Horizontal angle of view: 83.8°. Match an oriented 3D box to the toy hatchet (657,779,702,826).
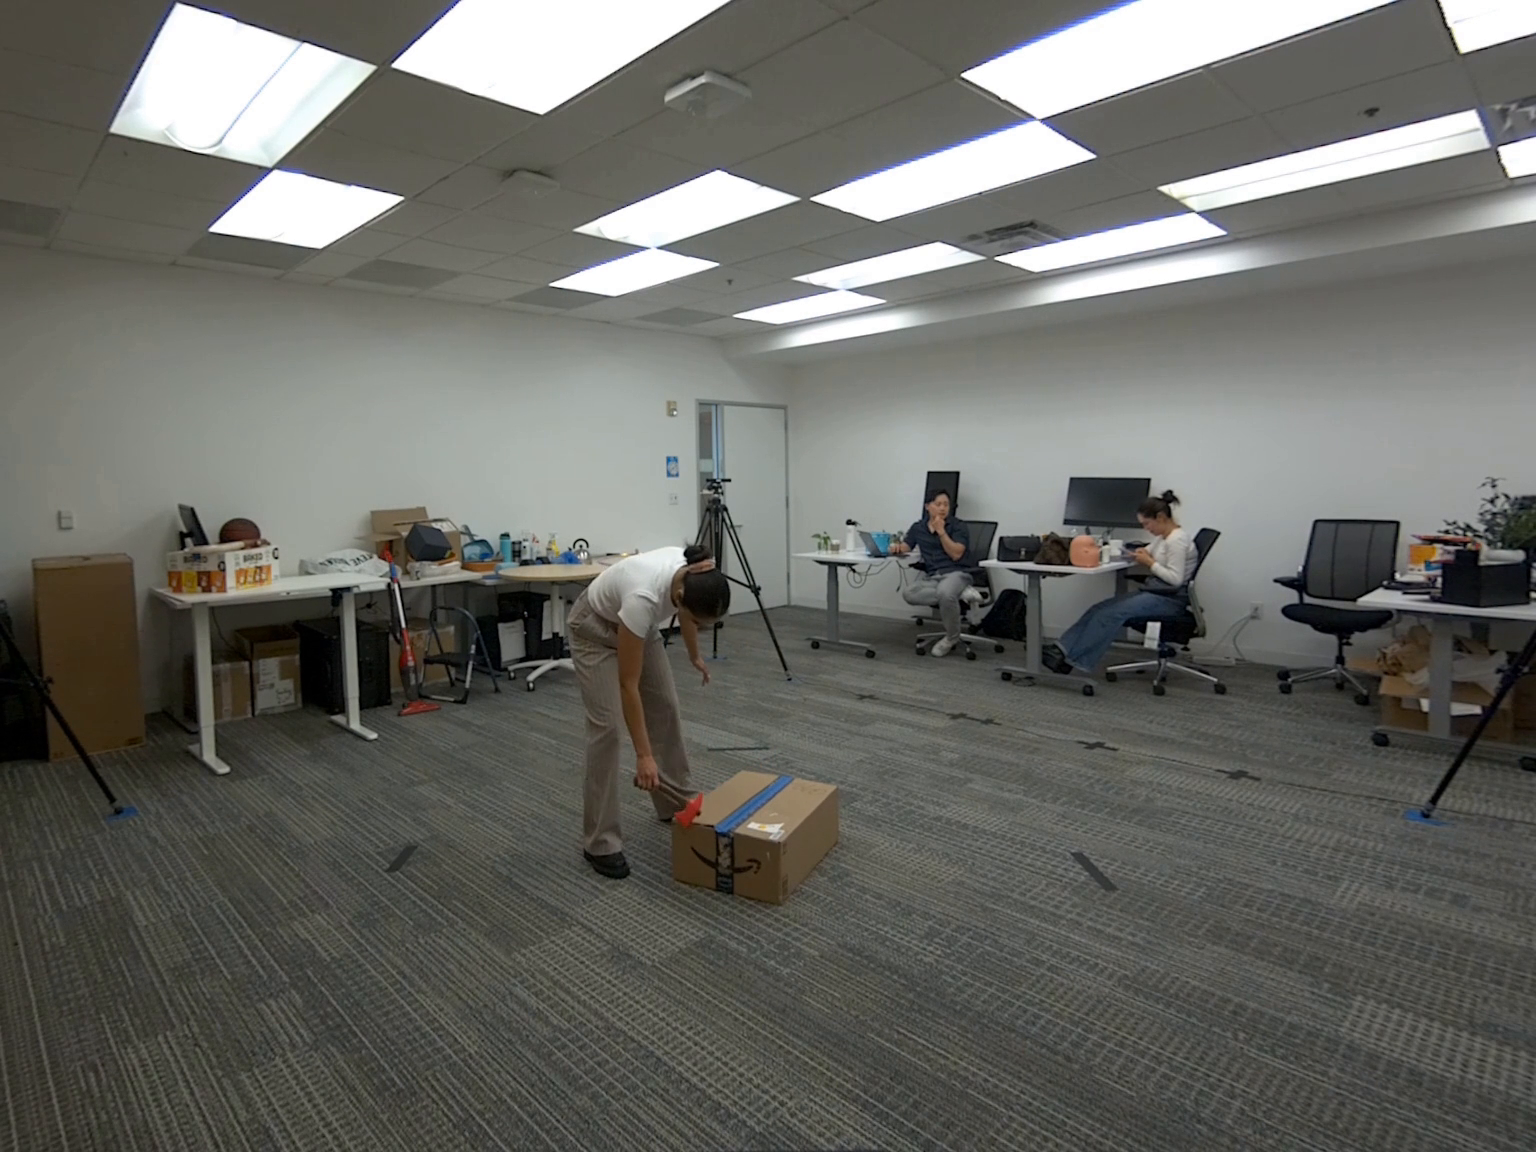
[{"bbox_3d":[-0.348,0.784,2.969,0.275,0.131,0.029,8,-3,18],"label":"toy hatchet"}]
